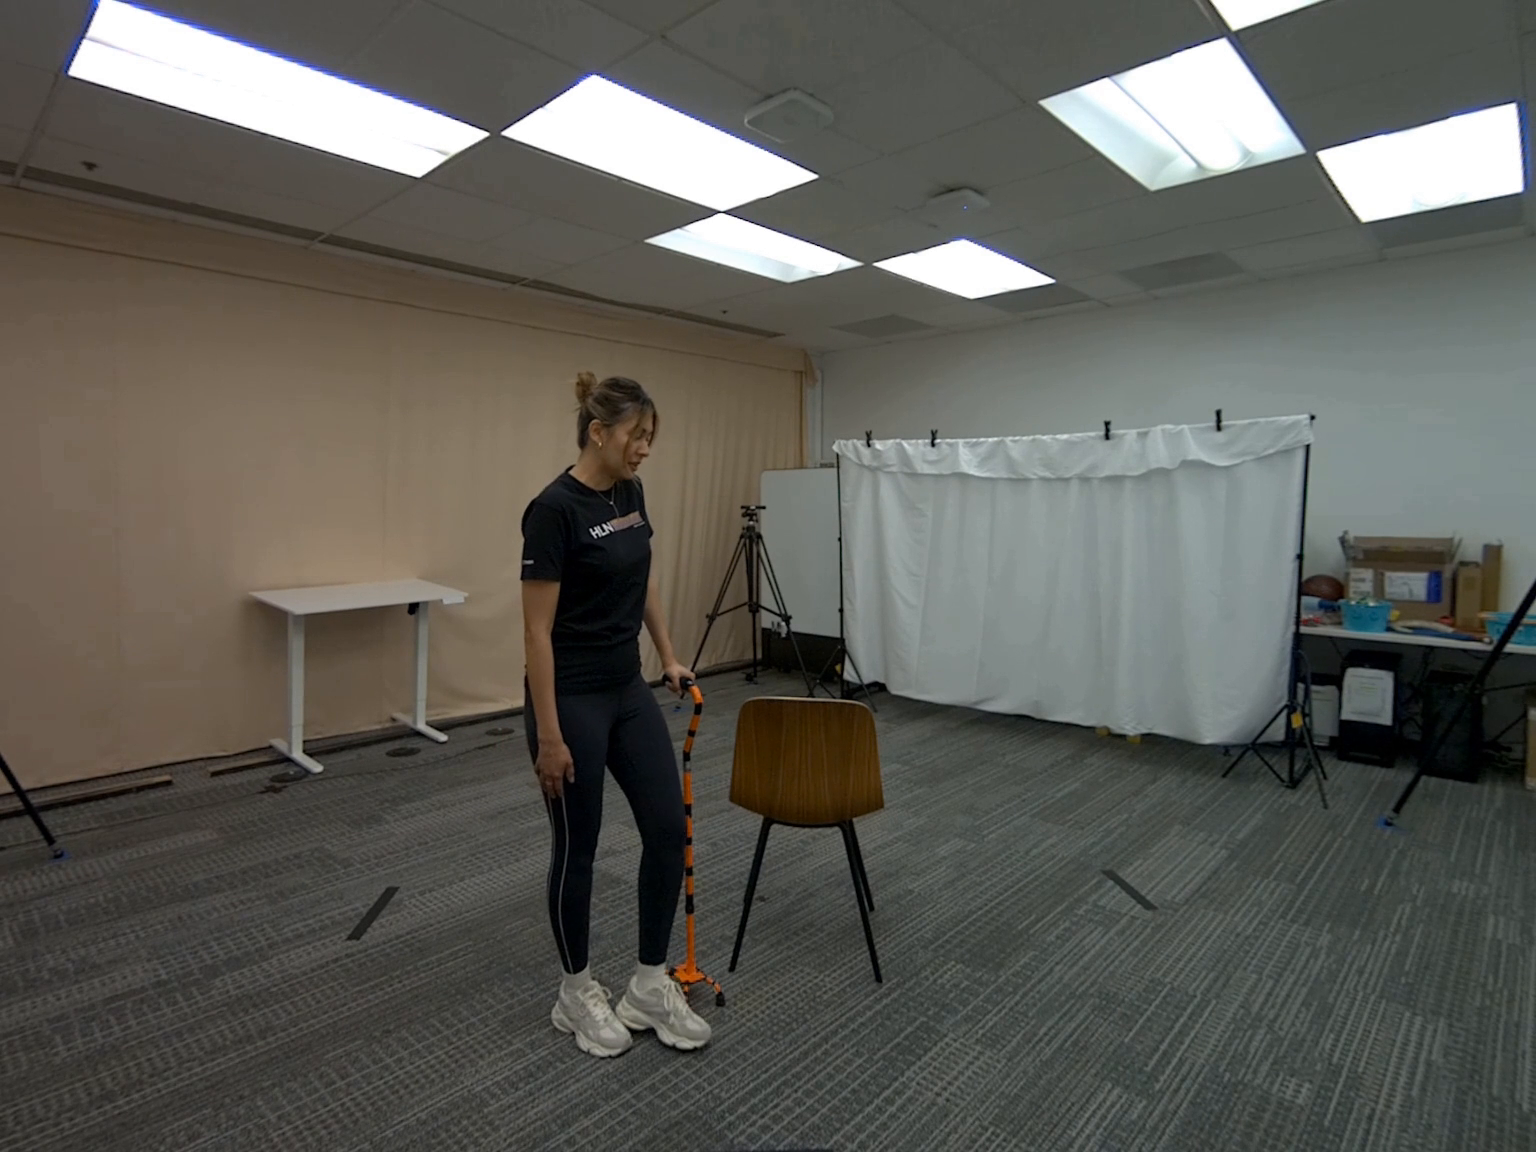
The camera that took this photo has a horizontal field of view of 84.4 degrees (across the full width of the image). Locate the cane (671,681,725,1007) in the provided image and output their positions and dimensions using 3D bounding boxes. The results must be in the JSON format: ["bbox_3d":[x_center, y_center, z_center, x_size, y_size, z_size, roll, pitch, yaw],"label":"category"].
[{"bbox_3d":[-0.233,0.743,2.376,0.147,0.907,0.213,-1,2,-37],"label":"cane"}]
